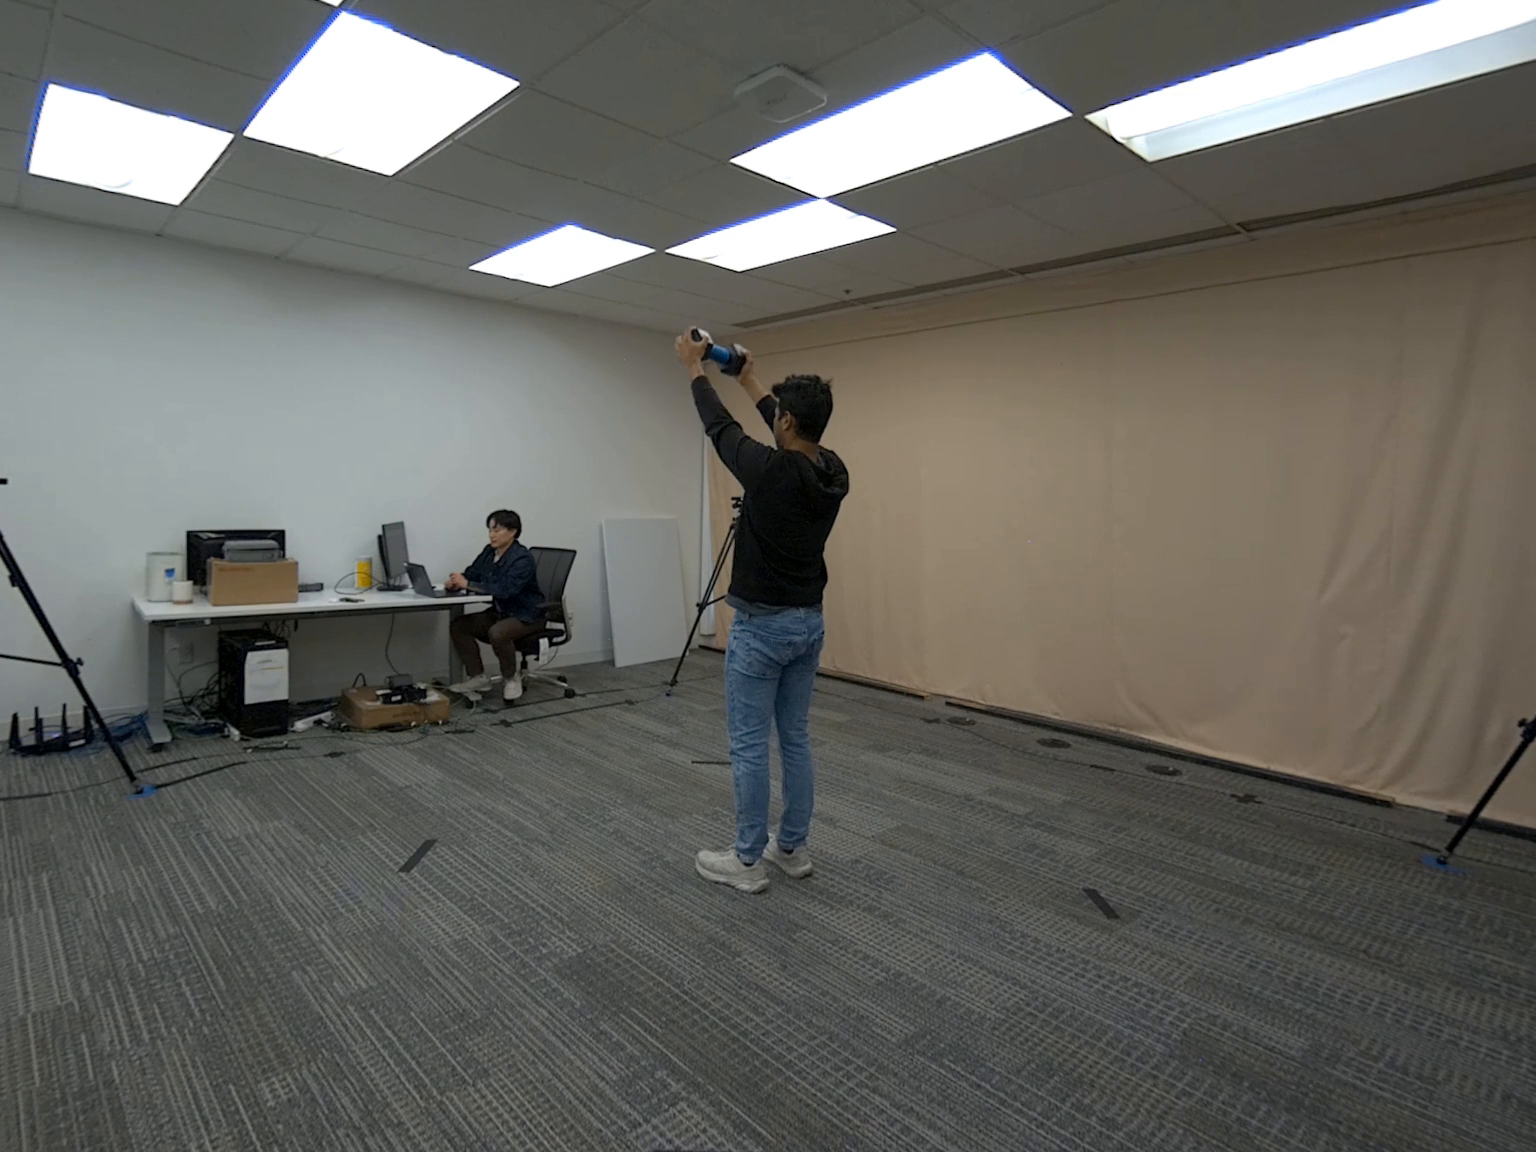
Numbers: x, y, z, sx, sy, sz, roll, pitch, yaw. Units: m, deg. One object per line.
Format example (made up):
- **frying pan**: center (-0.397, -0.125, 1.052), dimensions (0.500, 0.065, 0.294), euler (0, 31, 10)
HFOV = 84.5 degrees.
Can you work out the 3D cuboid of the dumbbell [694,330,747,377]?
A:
- **dumbbell**: center (-0.214, -0.846, 3.235), dimensions (0.112, 0.122, 0.286), euler (34, 19, 37)
